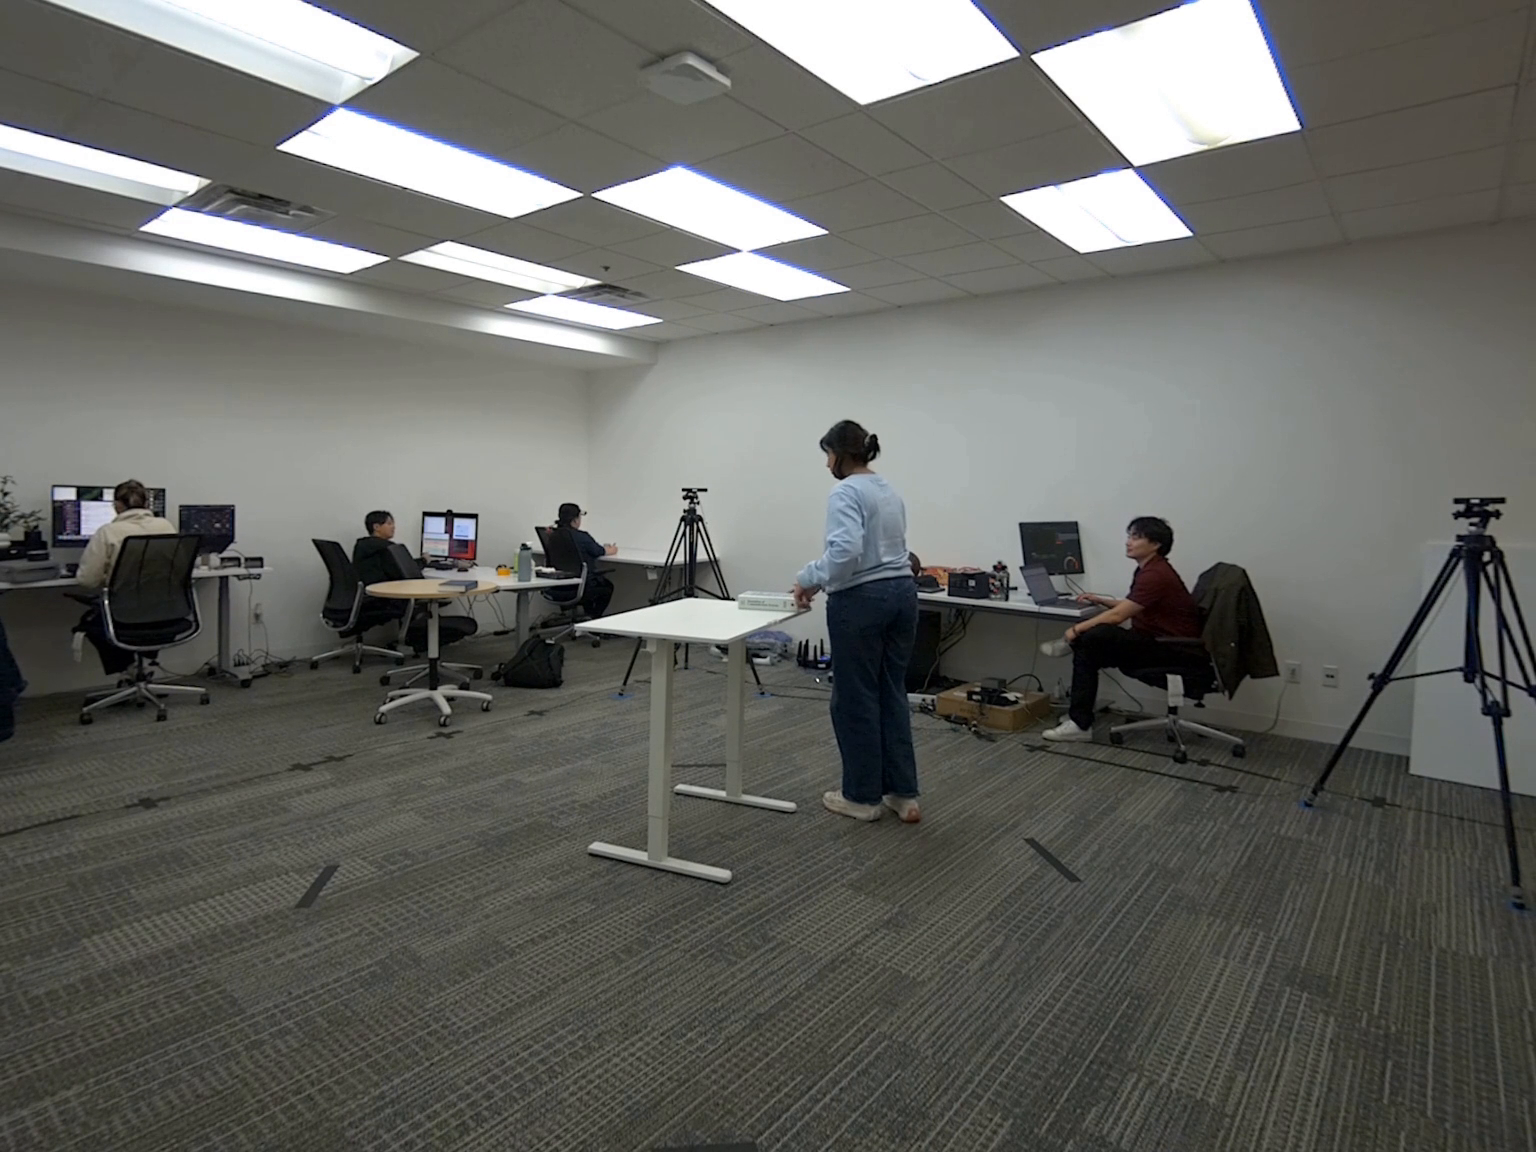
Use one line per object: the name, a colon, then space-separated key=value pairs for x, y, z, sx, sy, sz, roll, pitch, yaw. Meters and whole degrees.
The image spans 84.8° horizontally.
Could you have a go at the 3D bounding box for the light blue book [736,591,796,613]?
light blue book: x=0.009 y=0.105 z=3.726 sx=0.265 sy=0.059 sz=0.189 roll=2 pitch=6 yaw=12
